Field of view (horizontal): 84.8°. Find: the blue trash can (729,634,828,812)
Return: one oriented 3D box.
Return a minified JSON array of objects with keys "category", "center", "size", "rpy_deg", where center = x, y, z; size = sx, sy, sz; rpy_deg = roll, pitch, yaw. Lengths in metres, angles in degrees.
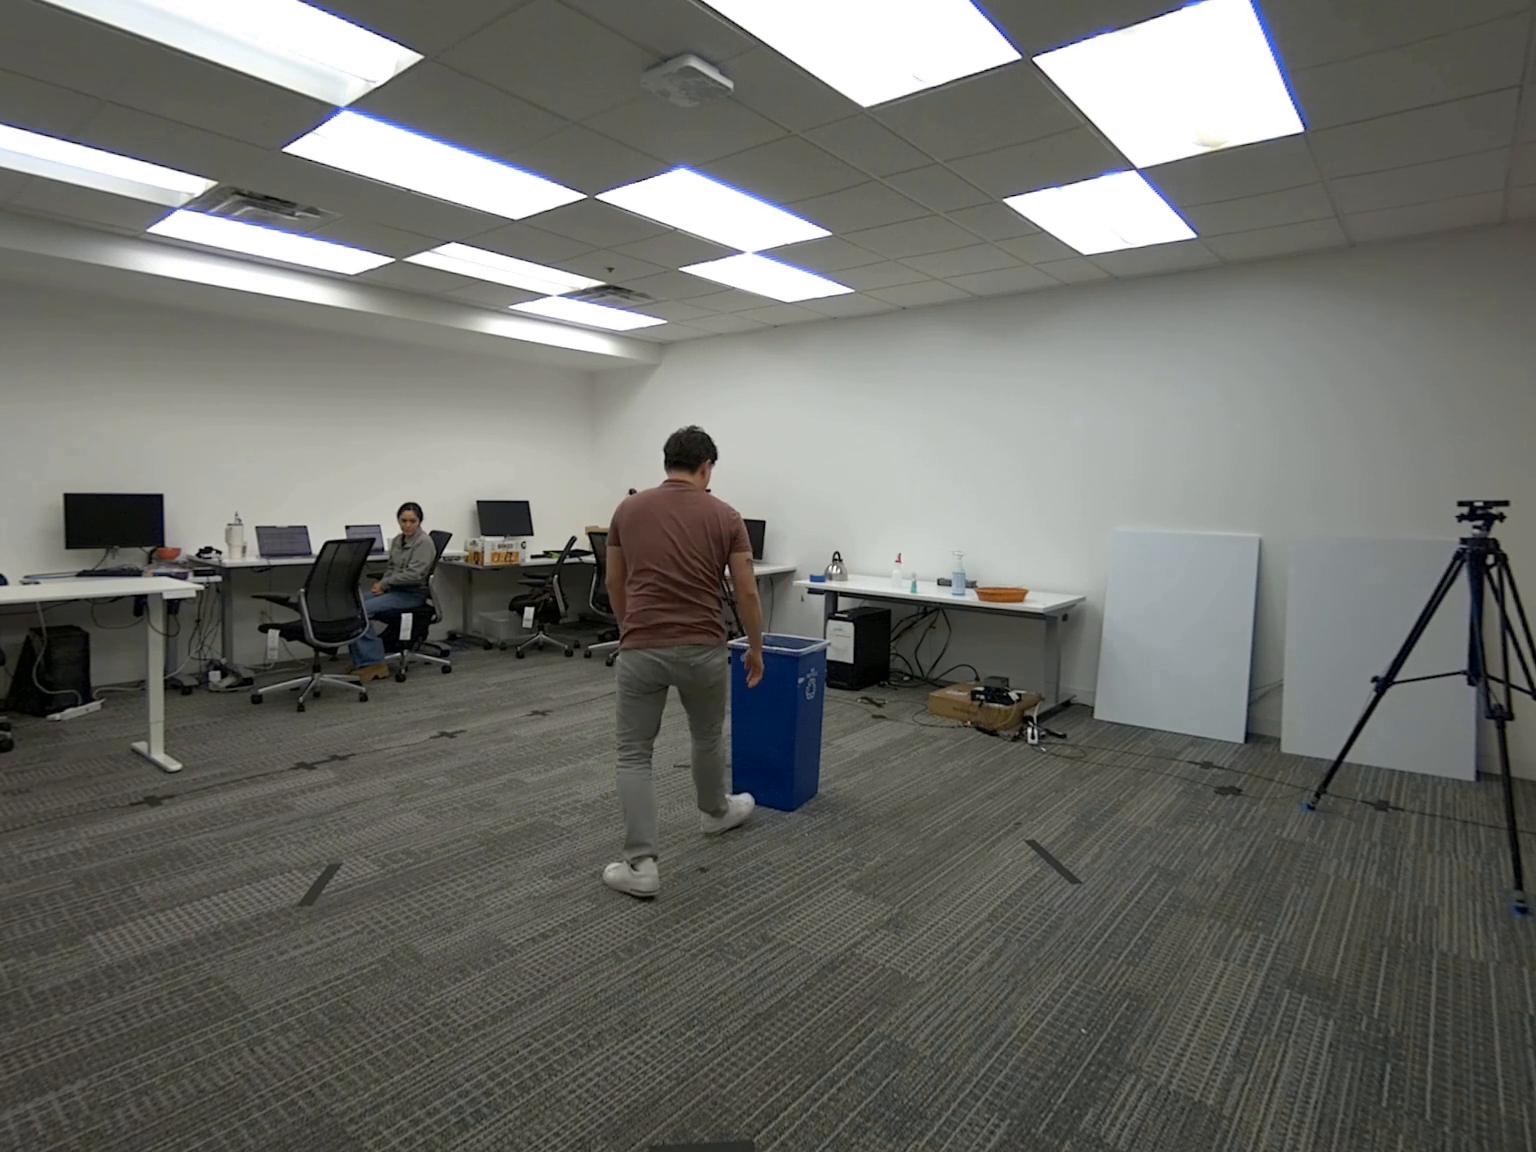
[{"category":"blue trash can","center":[0.036,0.647,3.887],"size":[0.389,0.712,0.364],"rpy_deg":[3,4,29]}]
